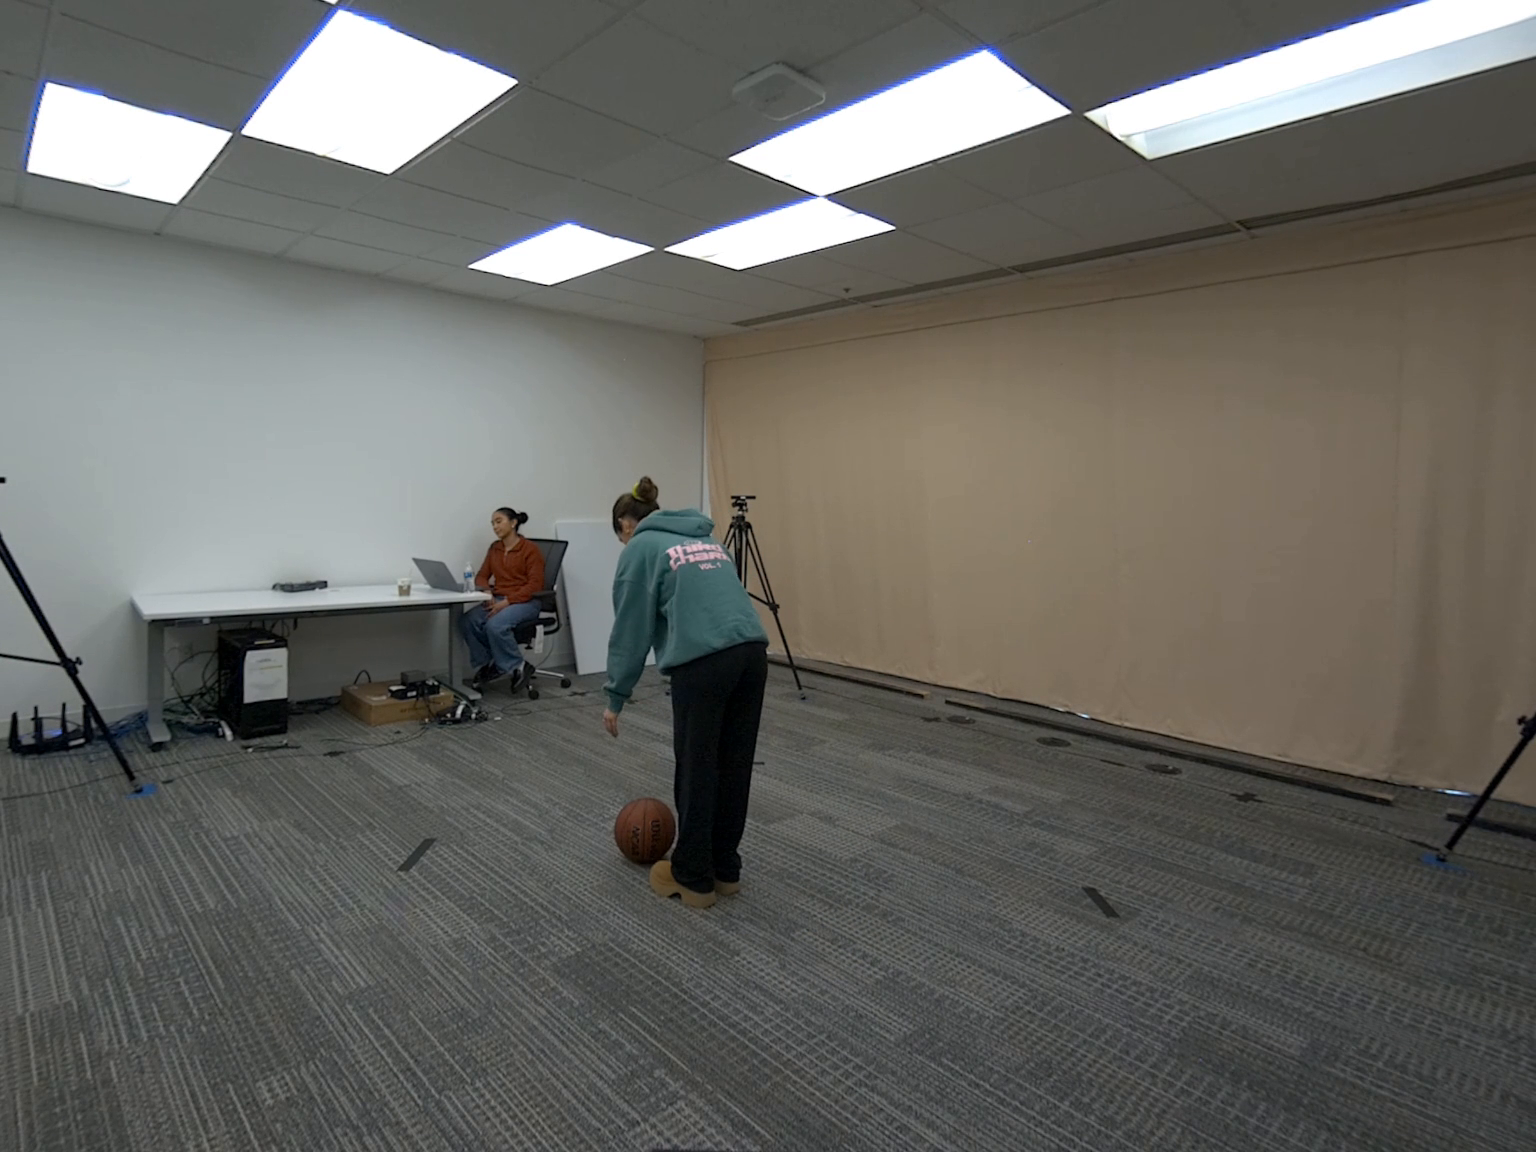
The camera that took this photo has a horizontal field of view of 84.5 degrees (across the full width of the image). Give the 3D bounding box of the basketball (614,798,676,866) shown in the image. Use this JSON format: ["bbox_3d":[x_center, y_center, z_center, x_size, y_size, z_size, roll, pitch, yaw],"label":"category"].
[{"bbox_3d":[-0.478,0.964,3.210,0.236,0.235,0.237,1,4,-1],"label":"basketball"}]
